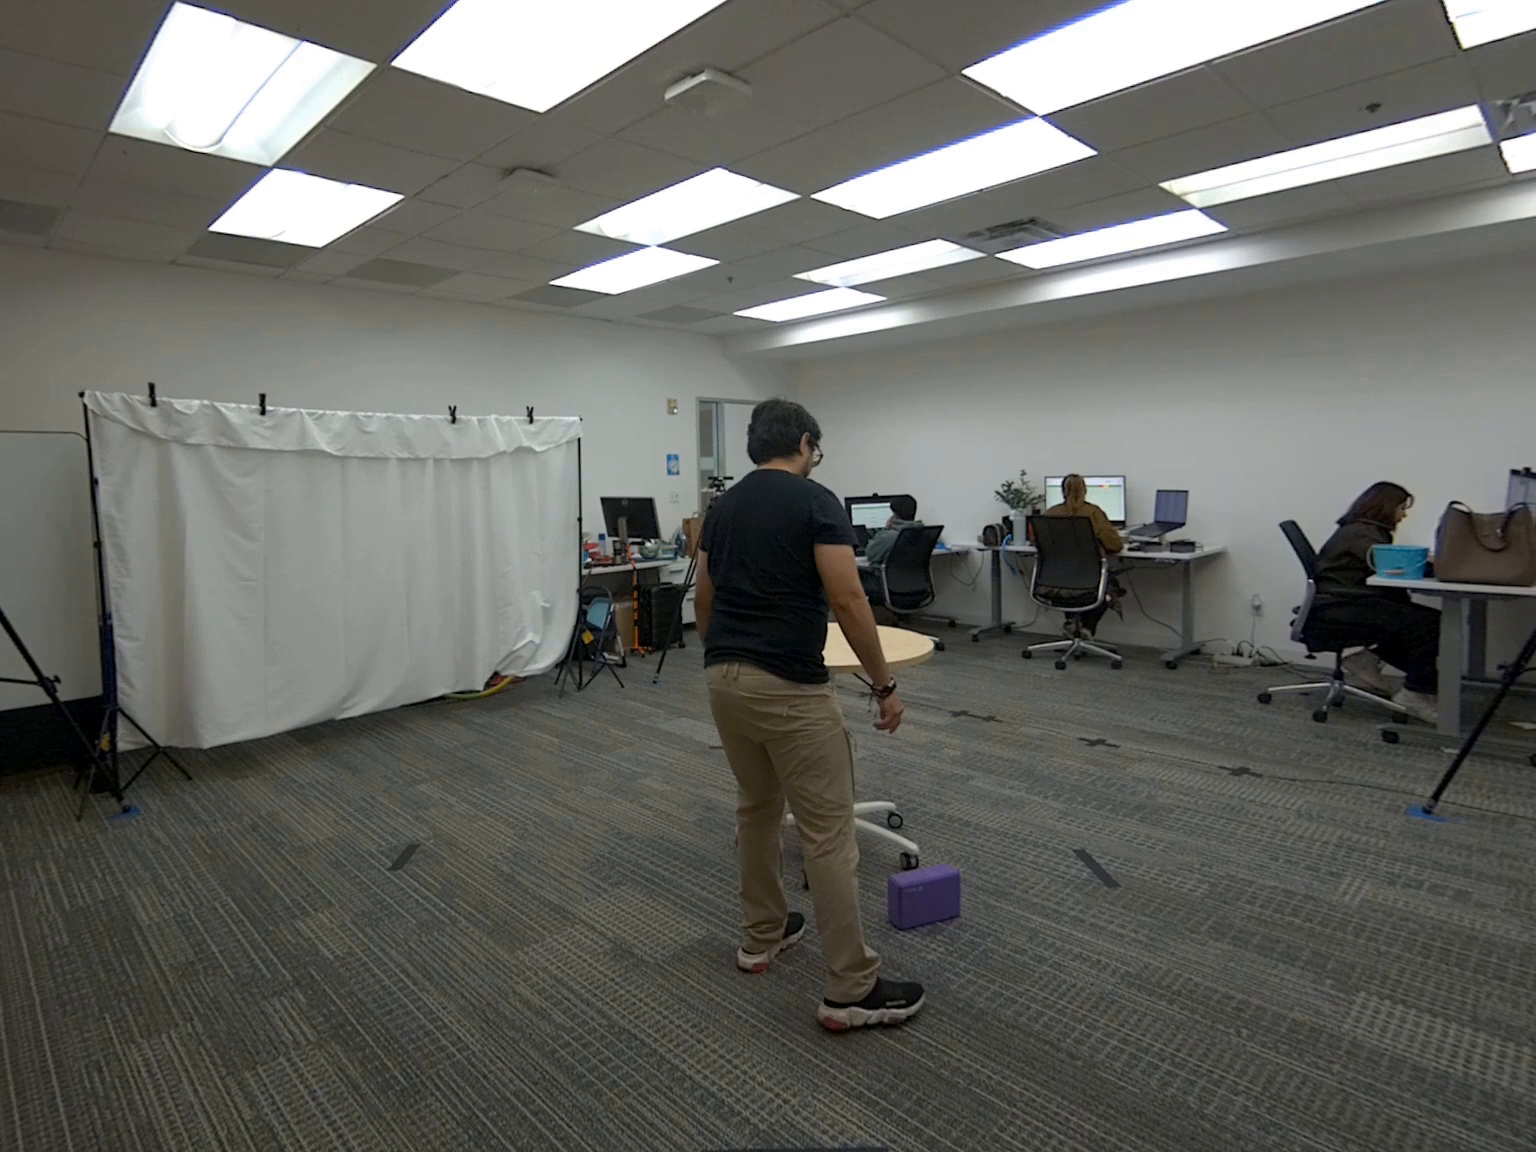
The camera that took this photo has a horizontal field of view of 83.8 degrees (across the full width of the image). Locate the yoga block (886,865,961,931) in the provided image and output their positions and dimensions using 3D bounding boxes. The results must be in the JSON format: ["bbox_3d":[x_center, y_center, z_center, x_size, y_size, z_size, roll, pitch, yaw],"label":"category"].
[{"bbox_3d":[0.495,1.001,2.674,0.225,0.148,0.078,-3,4,-22],"label":"yoga block"}]
